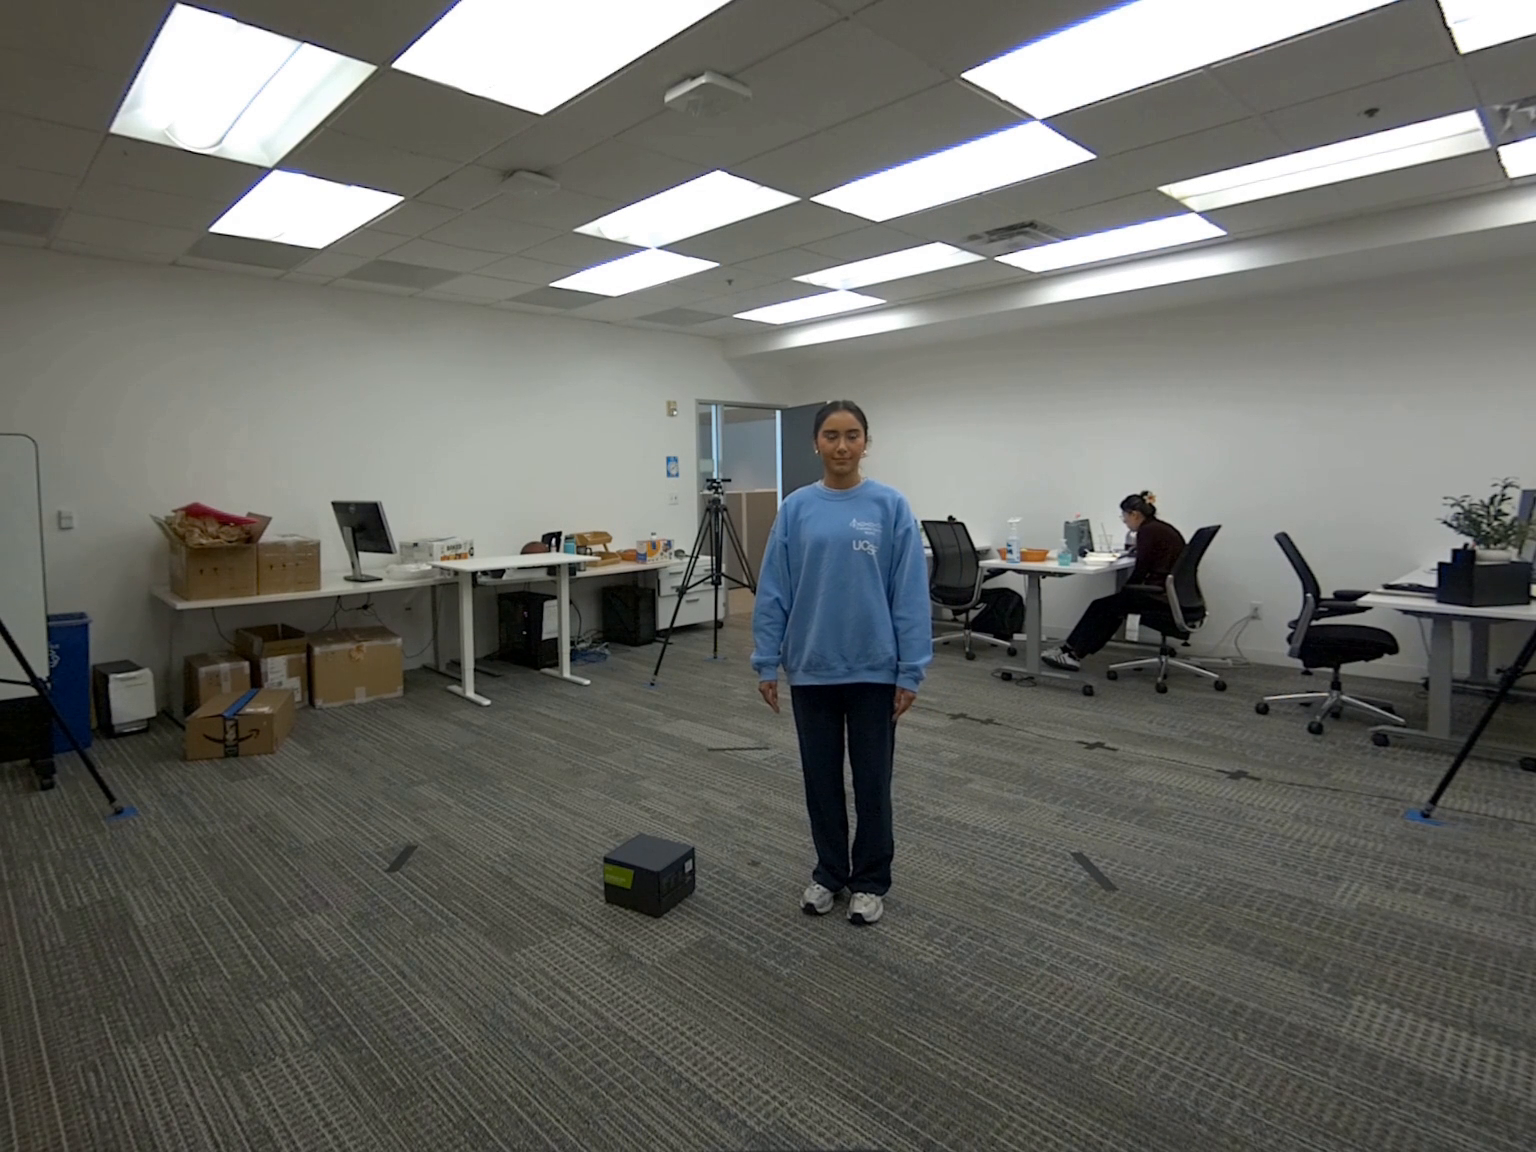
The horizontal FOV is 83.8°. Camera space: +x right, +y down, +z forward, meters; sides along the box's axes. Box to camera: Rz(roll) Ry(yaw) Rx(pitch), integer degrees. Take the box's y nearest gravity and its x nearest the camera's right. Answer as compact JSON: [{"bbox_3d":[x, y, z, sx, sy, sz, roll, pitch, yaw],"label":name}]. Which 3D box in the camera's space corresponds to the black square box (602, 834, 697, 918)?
[{"bbox_3d":[-0.392,0.995,2.863,0.234,0.155,0.212,2,7,29],"label":"black square box"}]
